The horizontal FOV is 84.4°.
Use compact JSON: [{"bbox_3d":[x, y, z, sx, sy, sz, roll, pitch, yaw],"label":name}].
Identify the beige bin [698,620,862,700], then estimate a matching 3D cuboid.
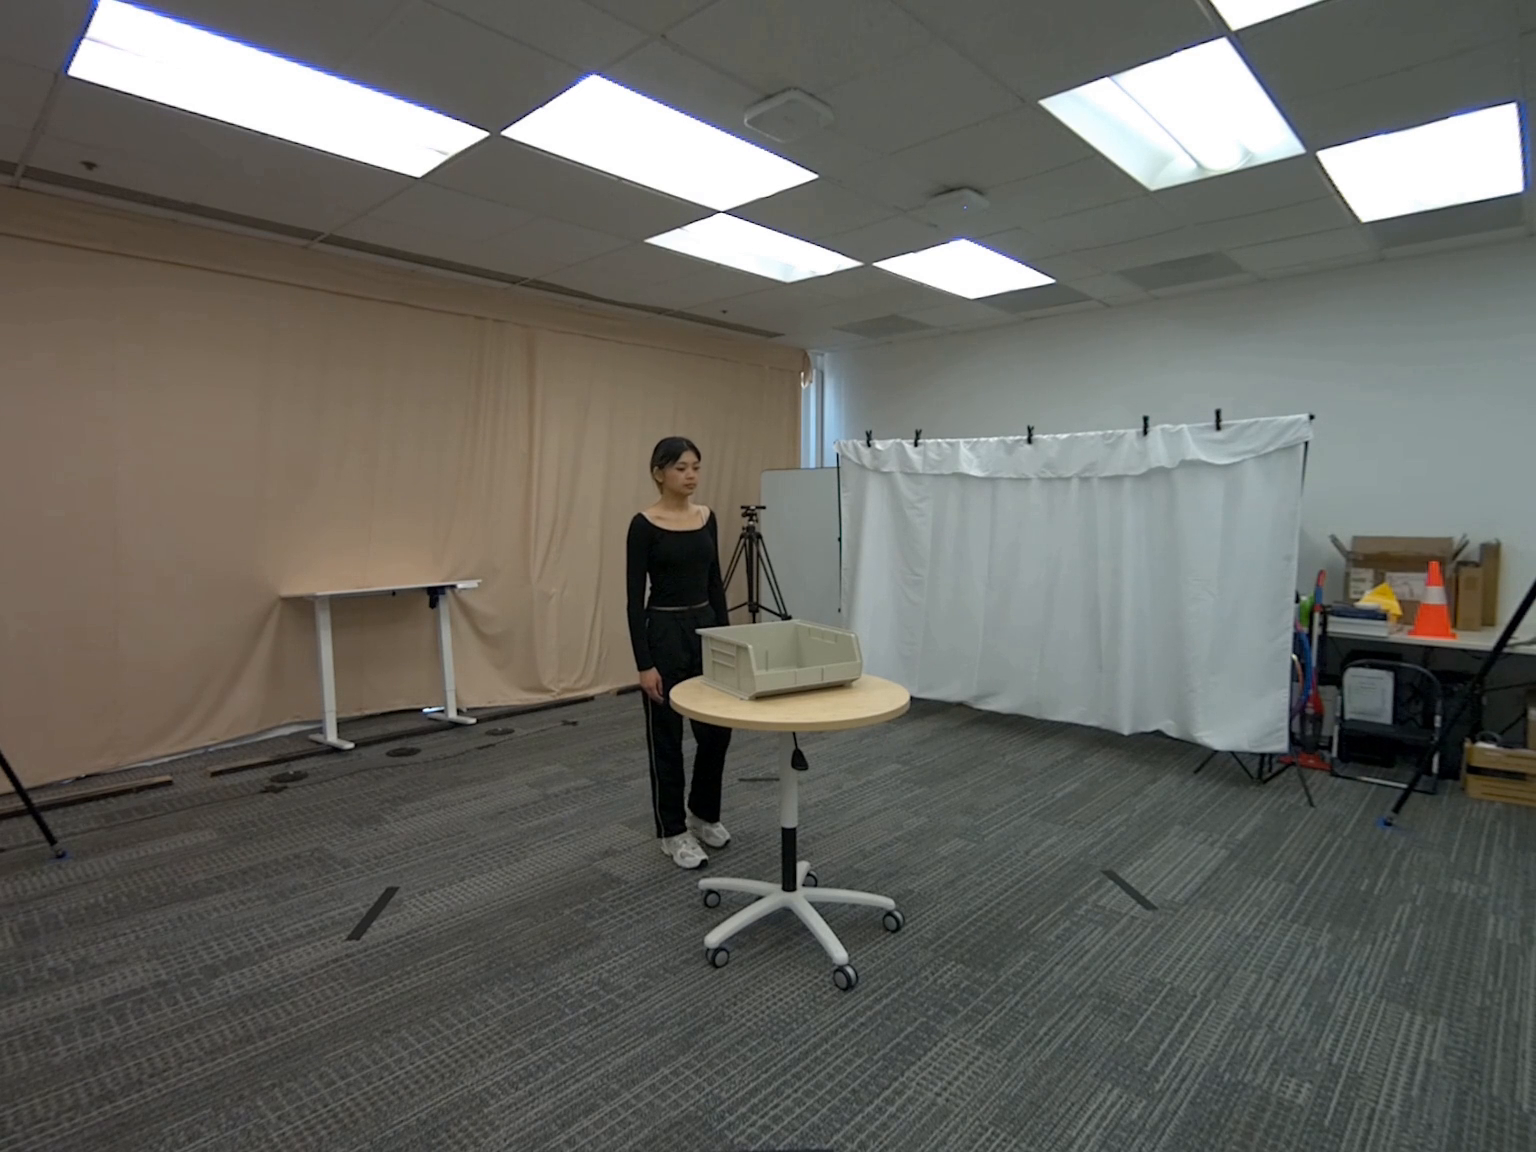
[{"bbox_3d":[0.039,0.274,2.806,0.411,0.188,0.388,-3,4,-30],"label":"beige bin"}]
